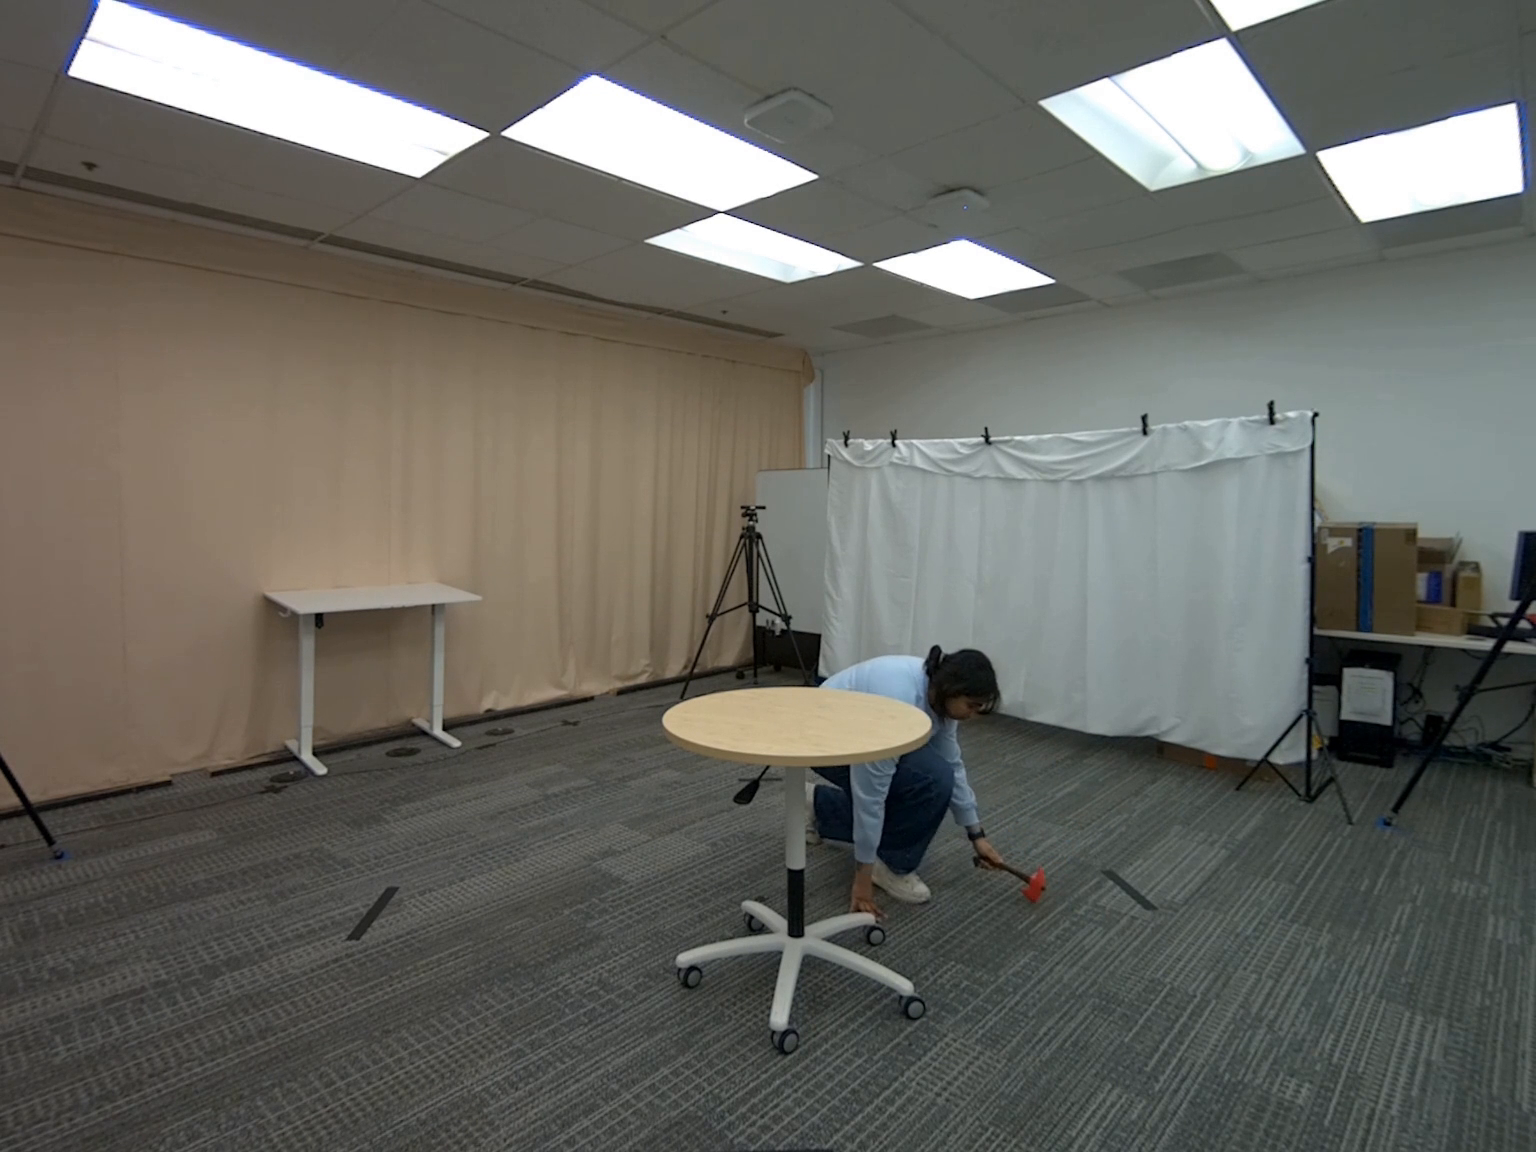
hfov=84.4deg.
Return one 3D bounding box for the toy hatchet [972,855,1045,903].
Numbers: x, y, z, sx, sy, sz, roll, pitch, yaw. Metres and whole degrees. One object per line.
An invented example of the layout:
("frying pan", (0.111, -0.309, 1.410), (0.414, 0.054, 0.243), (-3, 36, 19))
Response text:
("toy hatchet", (0.874, 1.077, 2.998), (0.029, 0.131, 0.278), (-5, -3, -45))
